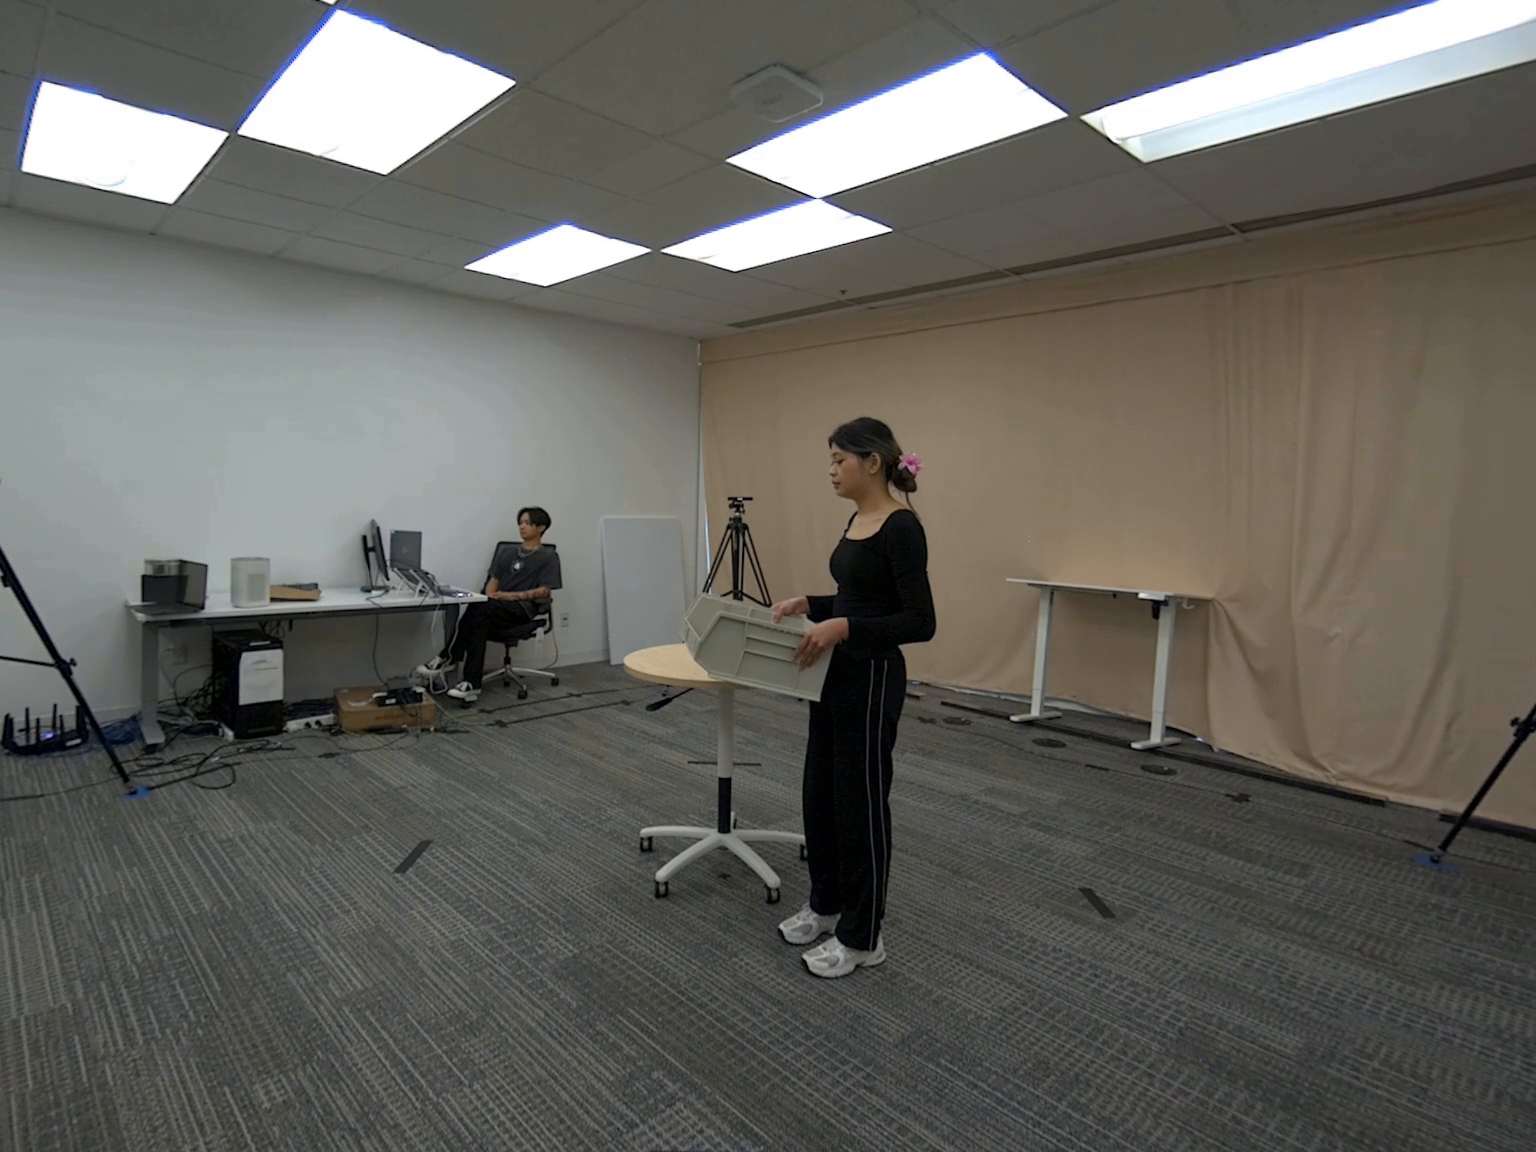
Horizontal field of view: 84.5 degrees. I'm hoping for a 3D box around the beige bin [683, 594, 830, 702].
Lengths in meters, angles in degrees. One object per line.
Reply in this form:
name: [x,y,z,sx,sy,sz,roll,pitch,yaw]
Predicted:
beige bin: [-0.049,0.198,2.444,0.373,0.189,0.427,14,2,-12]
